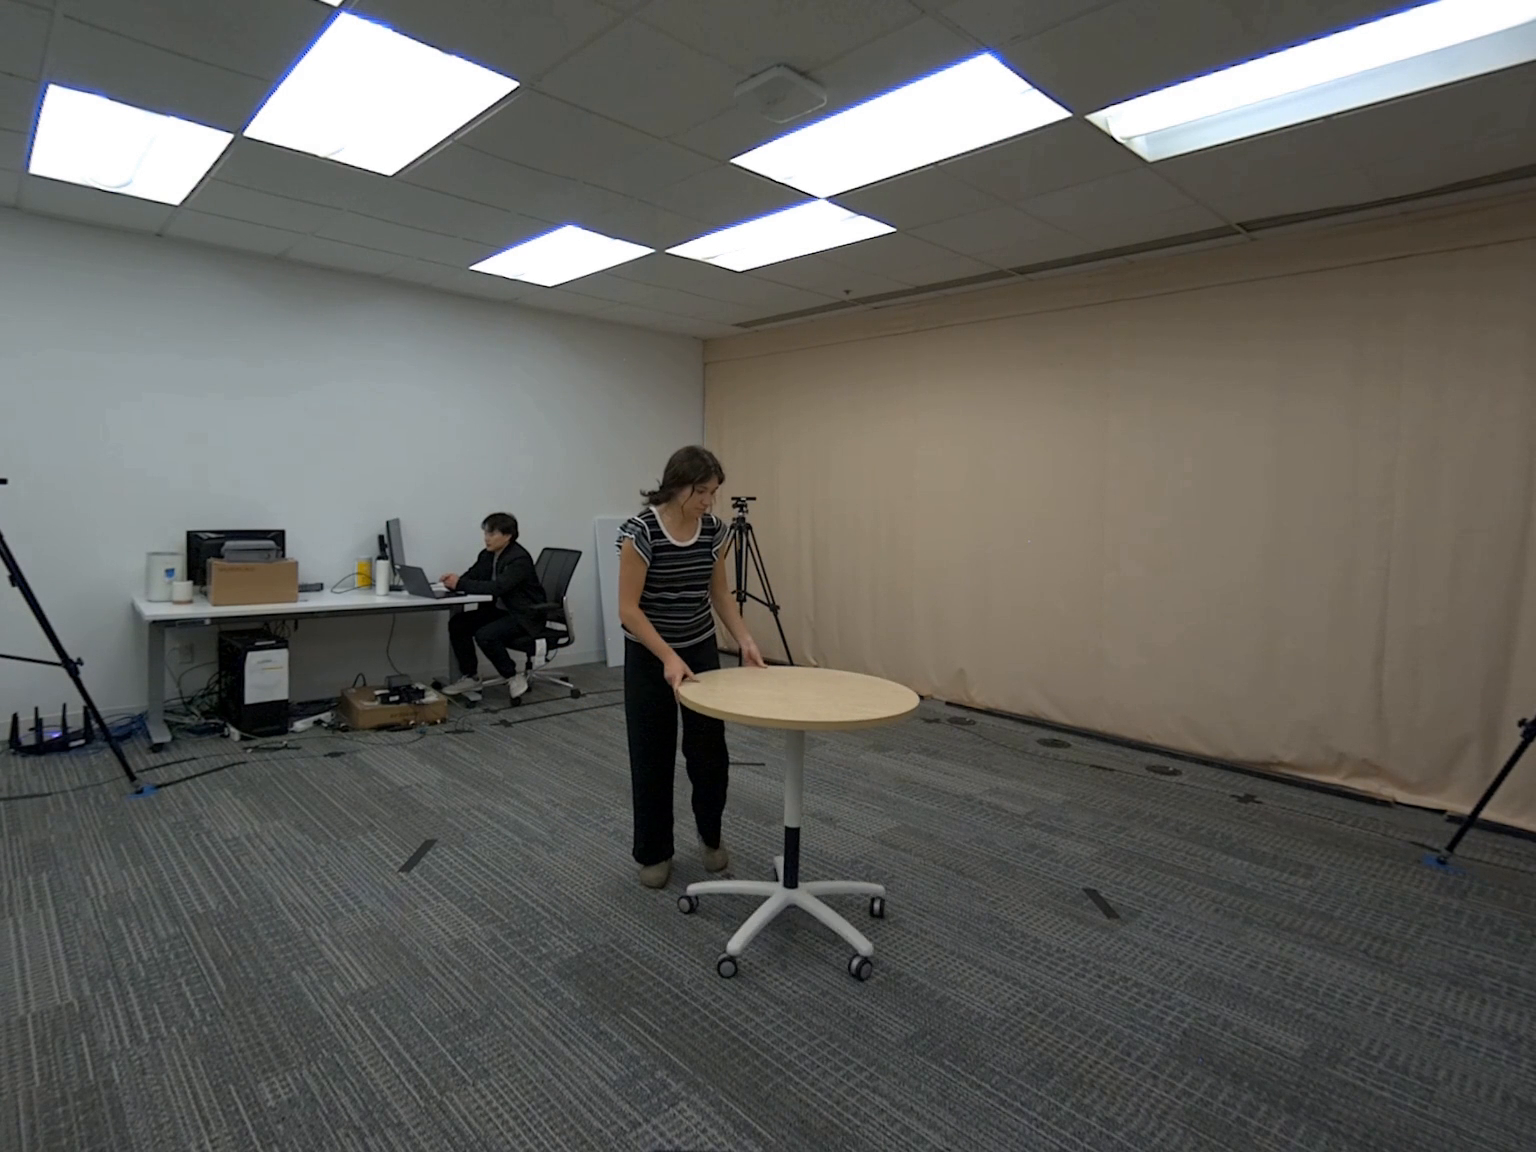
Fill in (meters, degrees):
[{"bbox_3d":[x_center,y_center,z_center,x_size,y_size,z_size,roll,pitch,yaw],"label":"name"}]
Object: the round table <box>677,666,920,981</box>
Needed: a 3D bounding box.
[{"bbox_3d":[0.074,0.753,2.722,0.784,0.784,0.788,2,4,-2],"label":"round table"}]
